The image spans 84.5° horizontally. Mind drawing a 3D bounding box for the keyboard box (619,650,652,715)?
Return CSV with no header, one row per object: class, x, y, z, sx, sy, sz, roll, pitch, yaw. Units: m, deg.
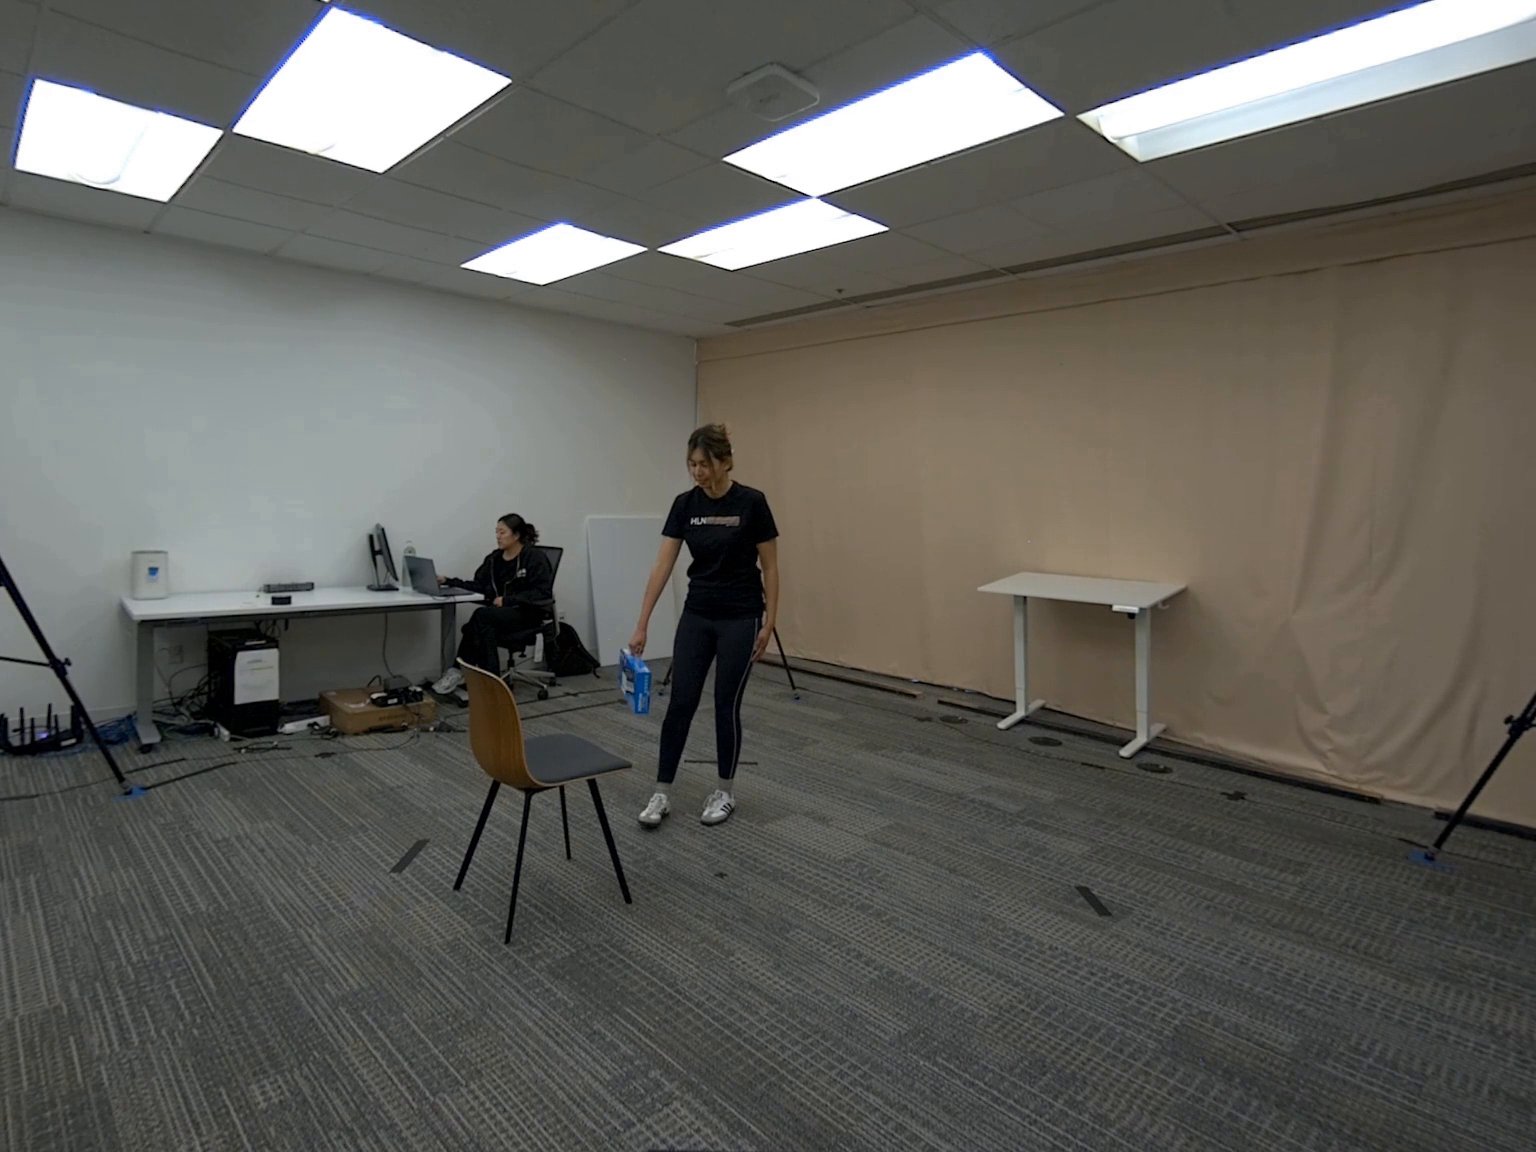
keyboard box,-0.584,0.446,3.605,0.058,0.175,0.445,3,6,-19
